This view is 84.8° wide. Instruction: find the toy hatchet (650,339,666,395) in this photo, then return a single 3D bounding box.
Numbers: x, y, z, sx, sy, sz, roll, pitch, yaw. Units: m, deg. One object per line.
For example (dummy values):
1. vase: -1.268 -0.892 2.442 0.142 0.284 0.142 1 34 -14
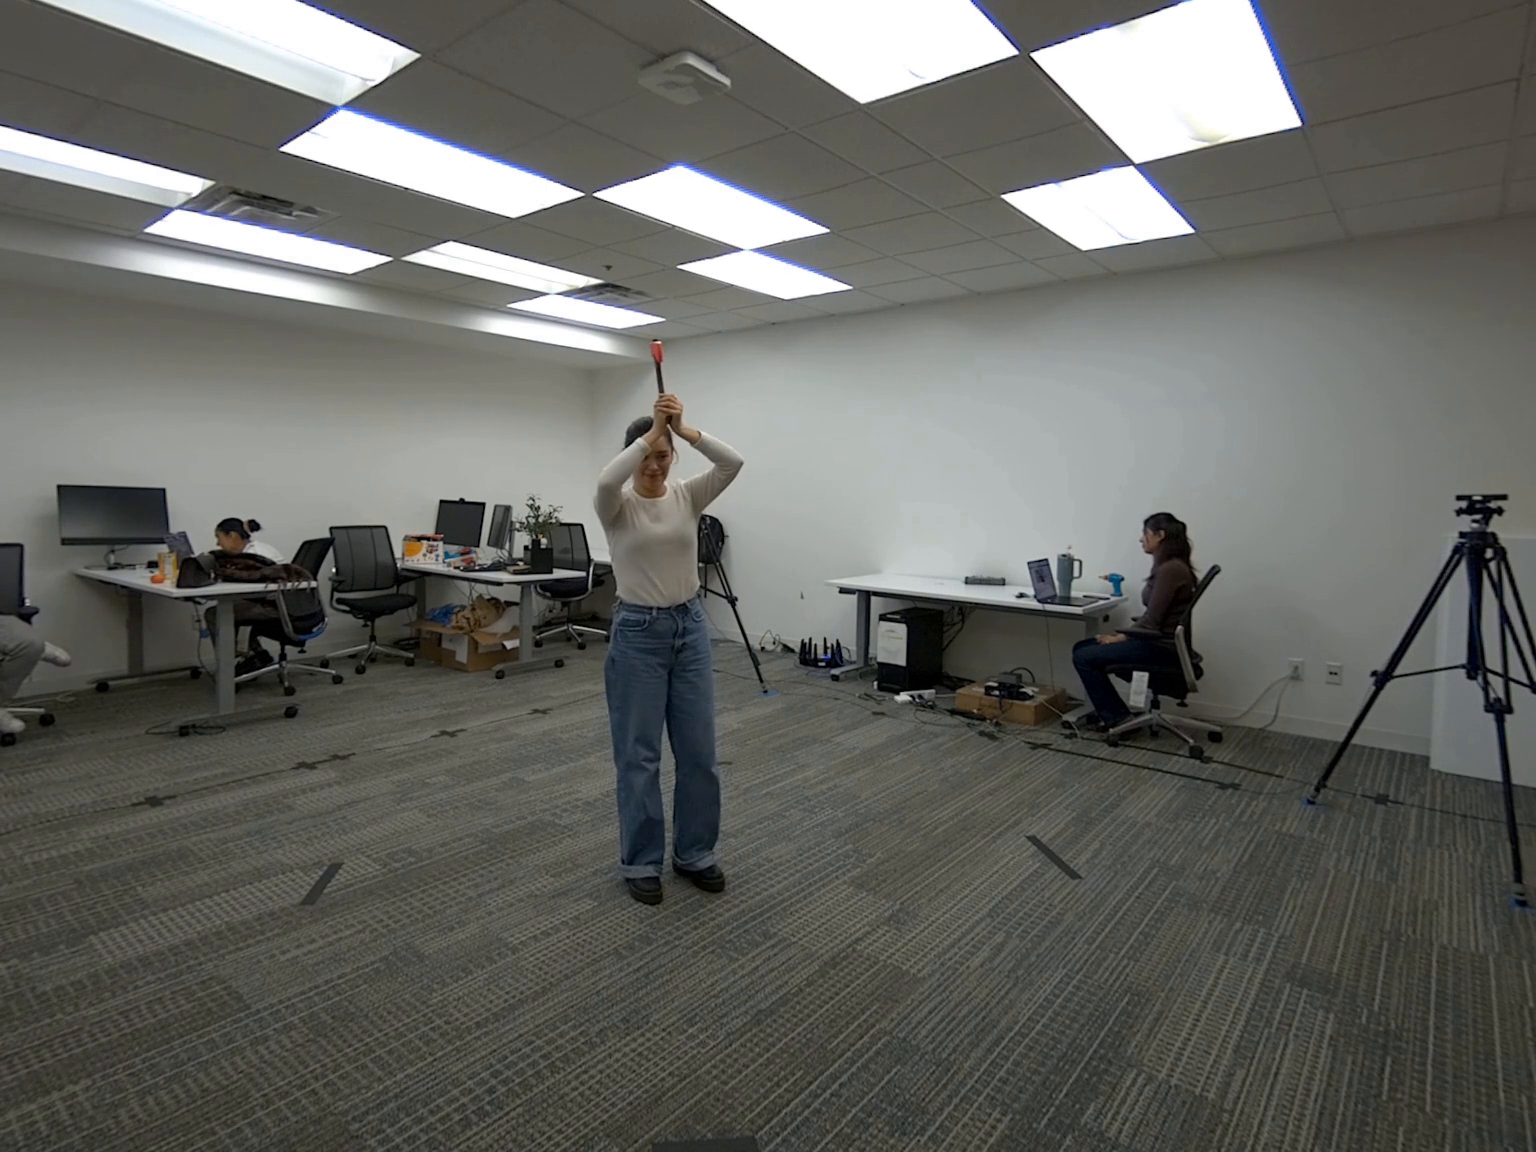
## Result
1. toy hatchet: -0.344 -0.632 2.700 0.029 0.274 0.131 -6 -13 -16
